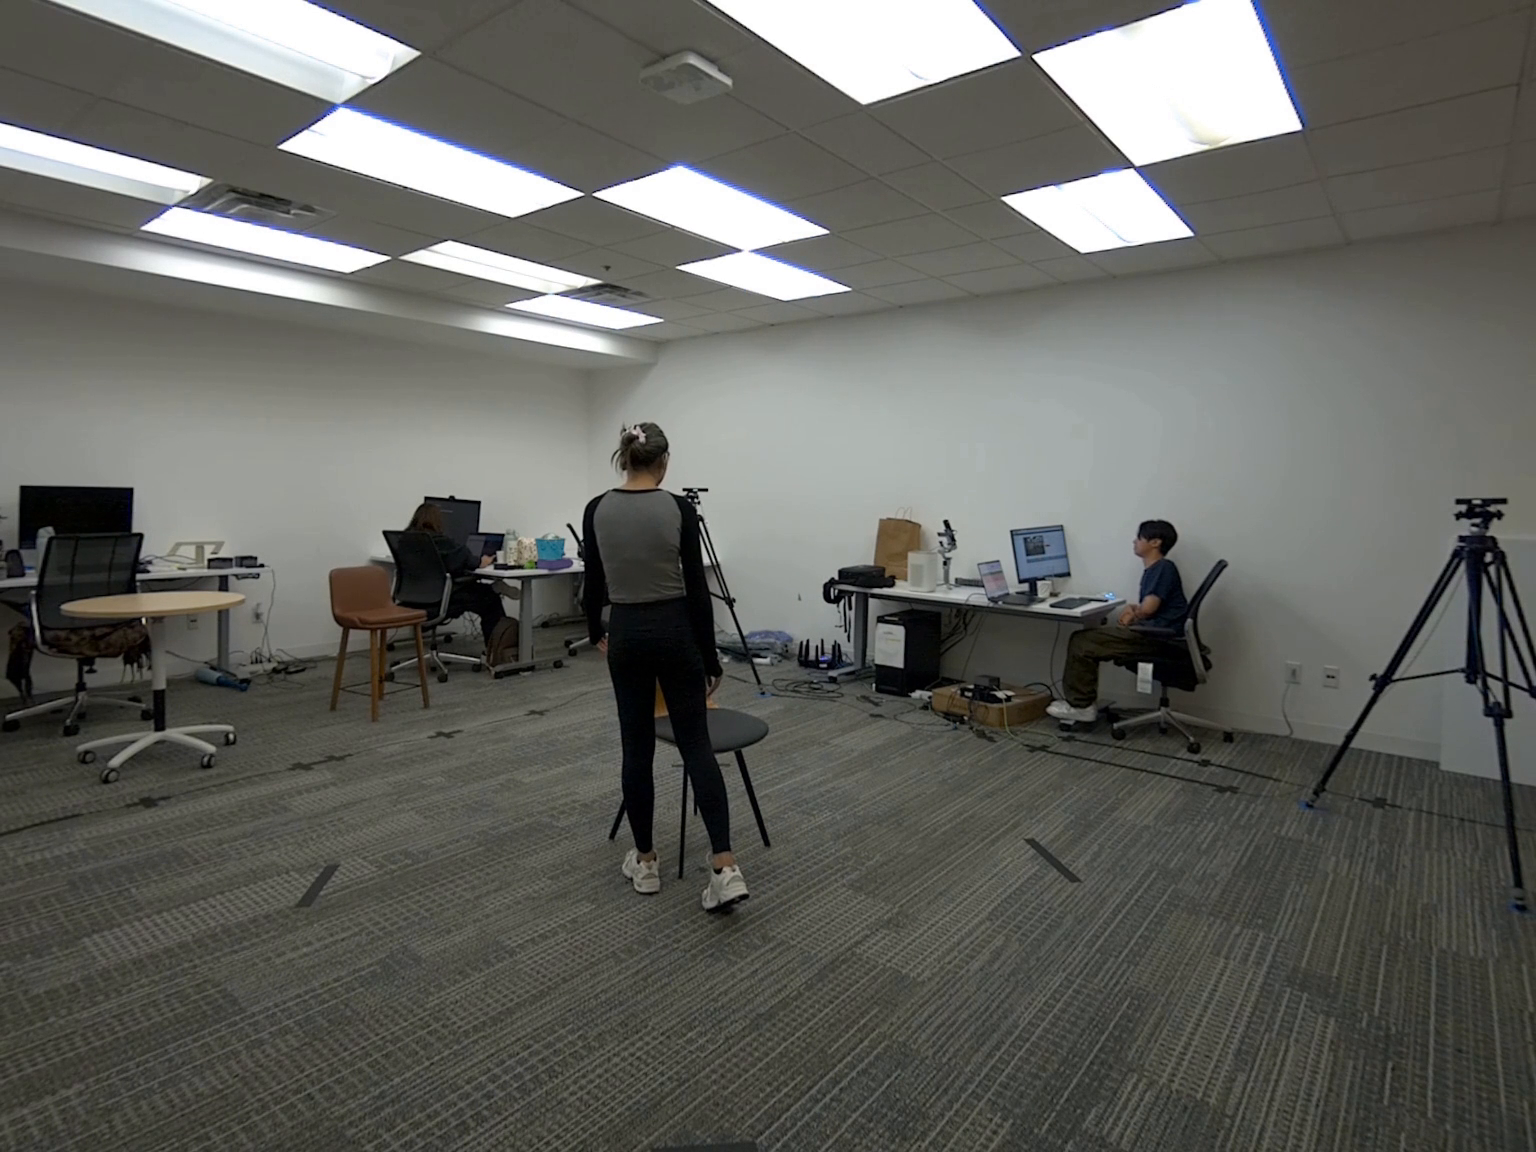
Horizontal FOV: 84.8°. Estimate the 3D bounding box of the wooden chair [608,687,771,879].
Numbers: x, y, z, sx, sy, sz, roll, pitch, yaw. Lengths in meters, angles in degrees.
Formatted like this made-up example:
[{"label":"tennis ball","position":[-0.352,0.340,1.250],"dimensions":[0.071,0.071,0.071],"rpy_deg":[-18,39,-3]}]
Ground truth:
[{"label":"wooden chair","position":[-0.304,0.618,3.309],"dimensions":[0.463,0.878,0.539],"rpy_deg":[-1,-1,-43]}]
